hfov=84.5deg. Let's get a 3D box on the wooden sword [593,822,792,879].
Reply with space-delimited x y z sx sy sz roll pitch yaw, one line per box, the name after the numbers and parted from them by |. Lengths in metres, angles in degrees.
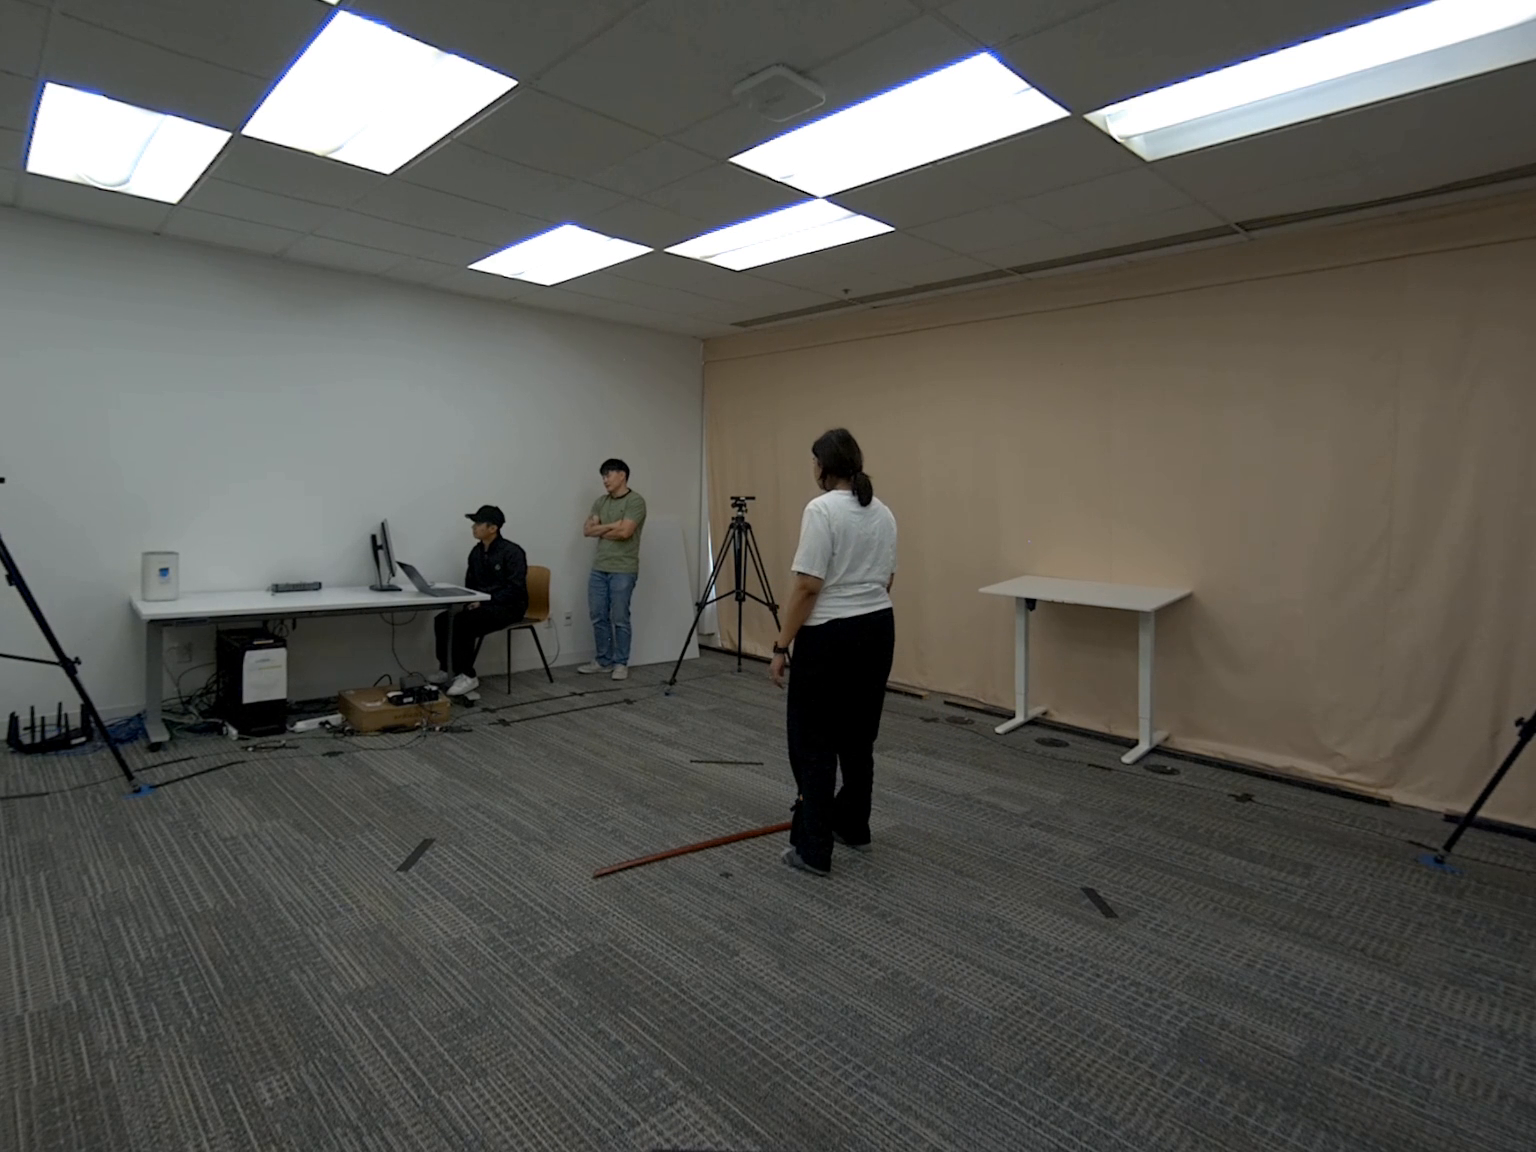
-0.226 1.056 3.339 1.003 0.024 0.053 -2 32 -34 | wooden sword
